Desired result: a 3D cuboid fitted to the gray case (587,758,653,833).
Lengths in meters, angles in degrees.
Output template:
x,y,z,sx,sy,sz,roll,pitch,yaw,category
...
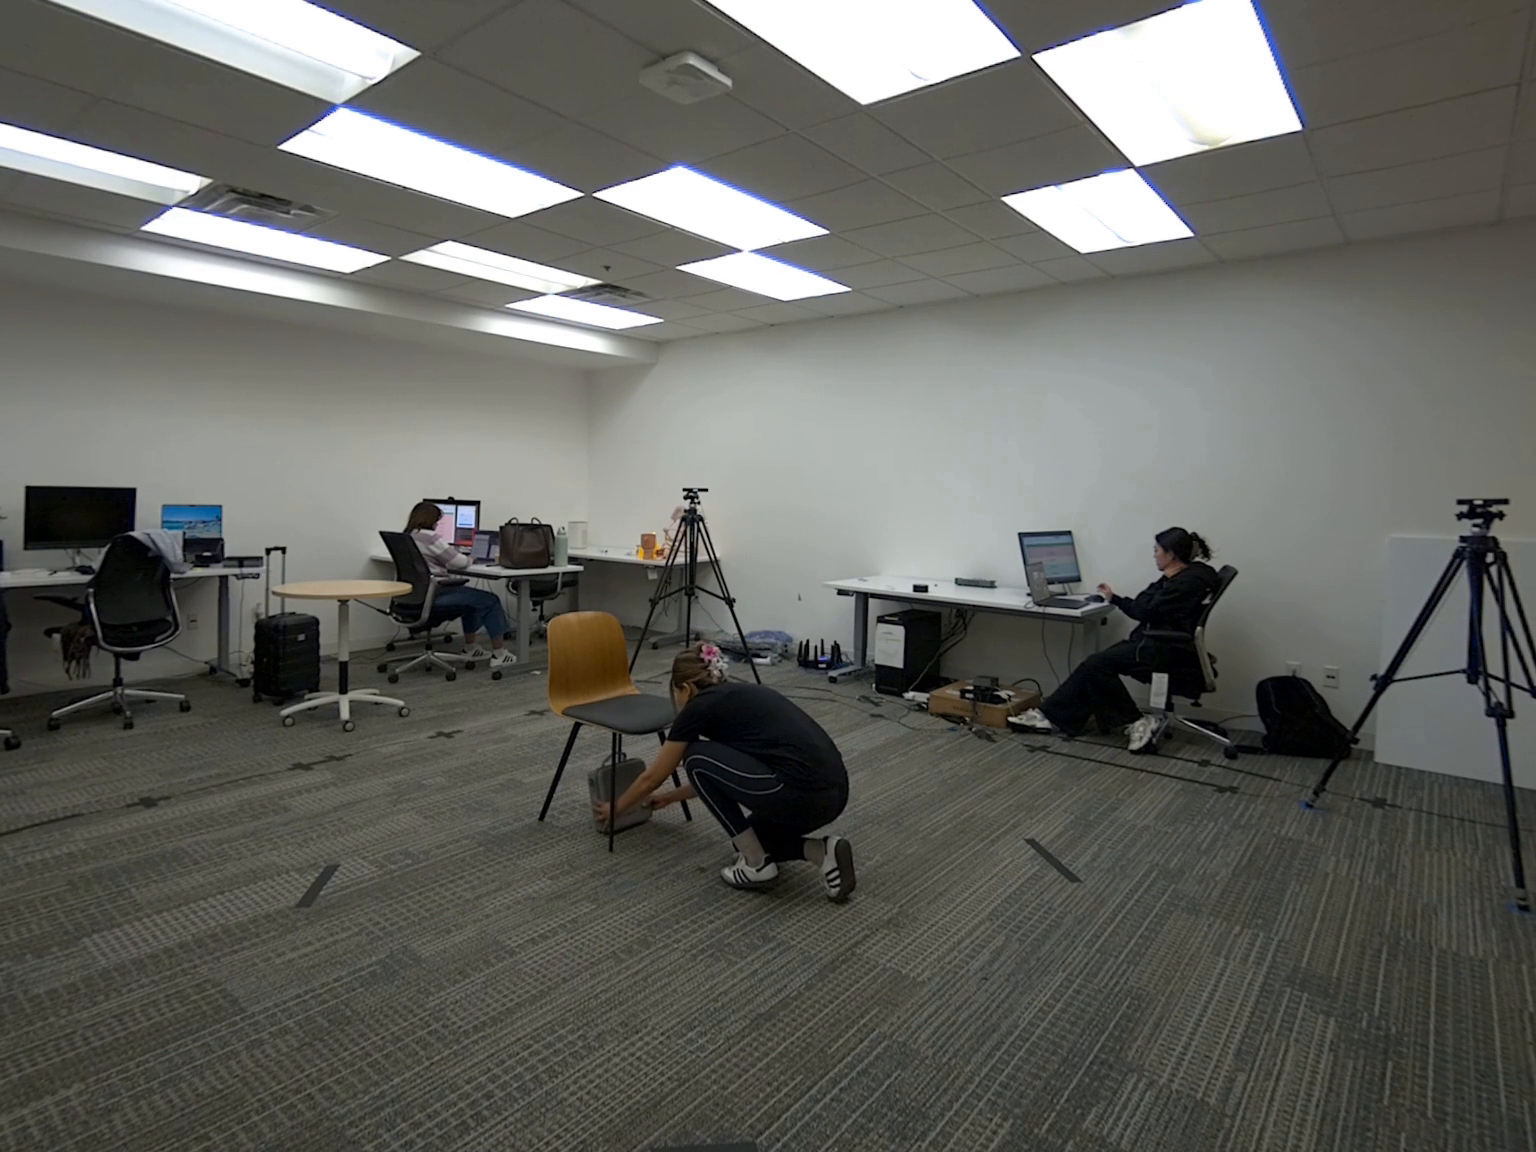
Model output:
x,y,z,sx,sy,sz,roll,pitch,yaw,category
-0.627,0.895,3.509,0.249,0.262,0.107,-4,-8,-45,gray case
